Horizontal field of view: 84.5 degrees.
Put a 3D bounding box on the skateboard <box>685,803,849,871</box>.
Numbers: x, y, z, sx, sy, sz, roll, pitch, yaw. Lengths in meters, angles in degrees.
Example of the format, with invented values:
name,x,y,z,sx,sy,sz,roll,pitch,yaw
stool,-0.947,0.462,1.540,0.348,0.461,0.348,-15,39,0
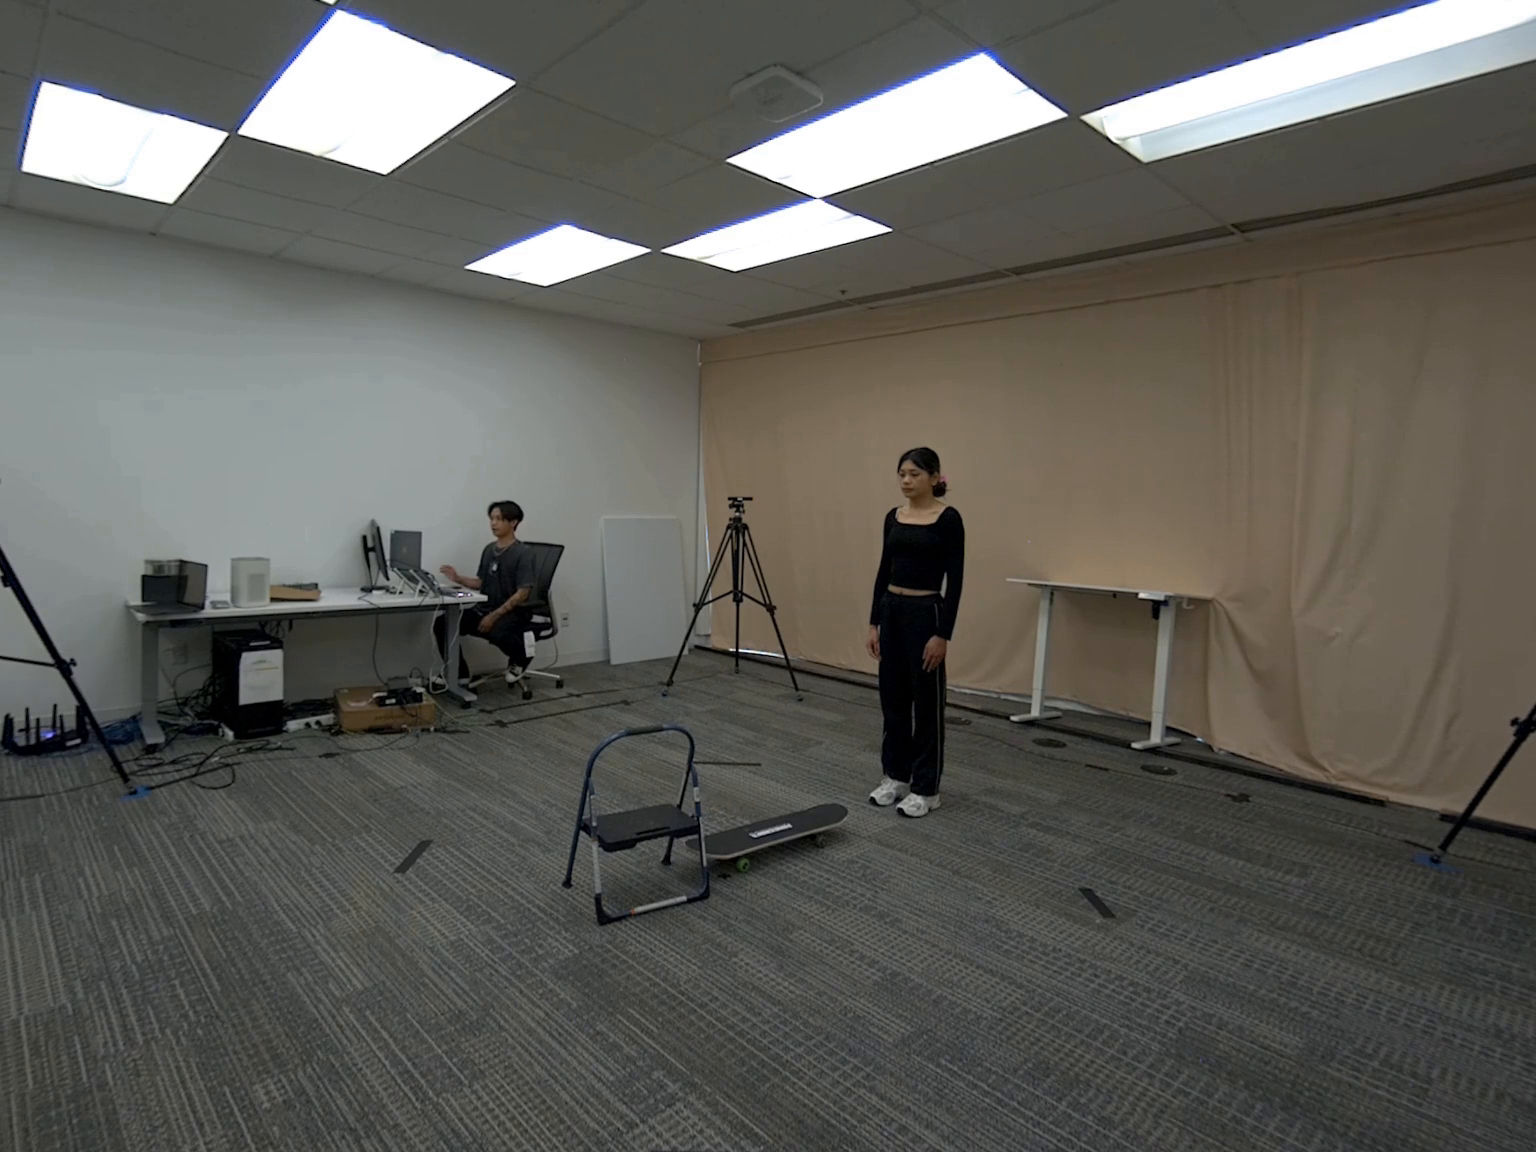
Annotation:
name,x,y,z,sx,sy,sz,roll,pitch,yaw
skateboard,0.004,1.036,3.325,0.768,0.110,0.198,-3,7,-39
